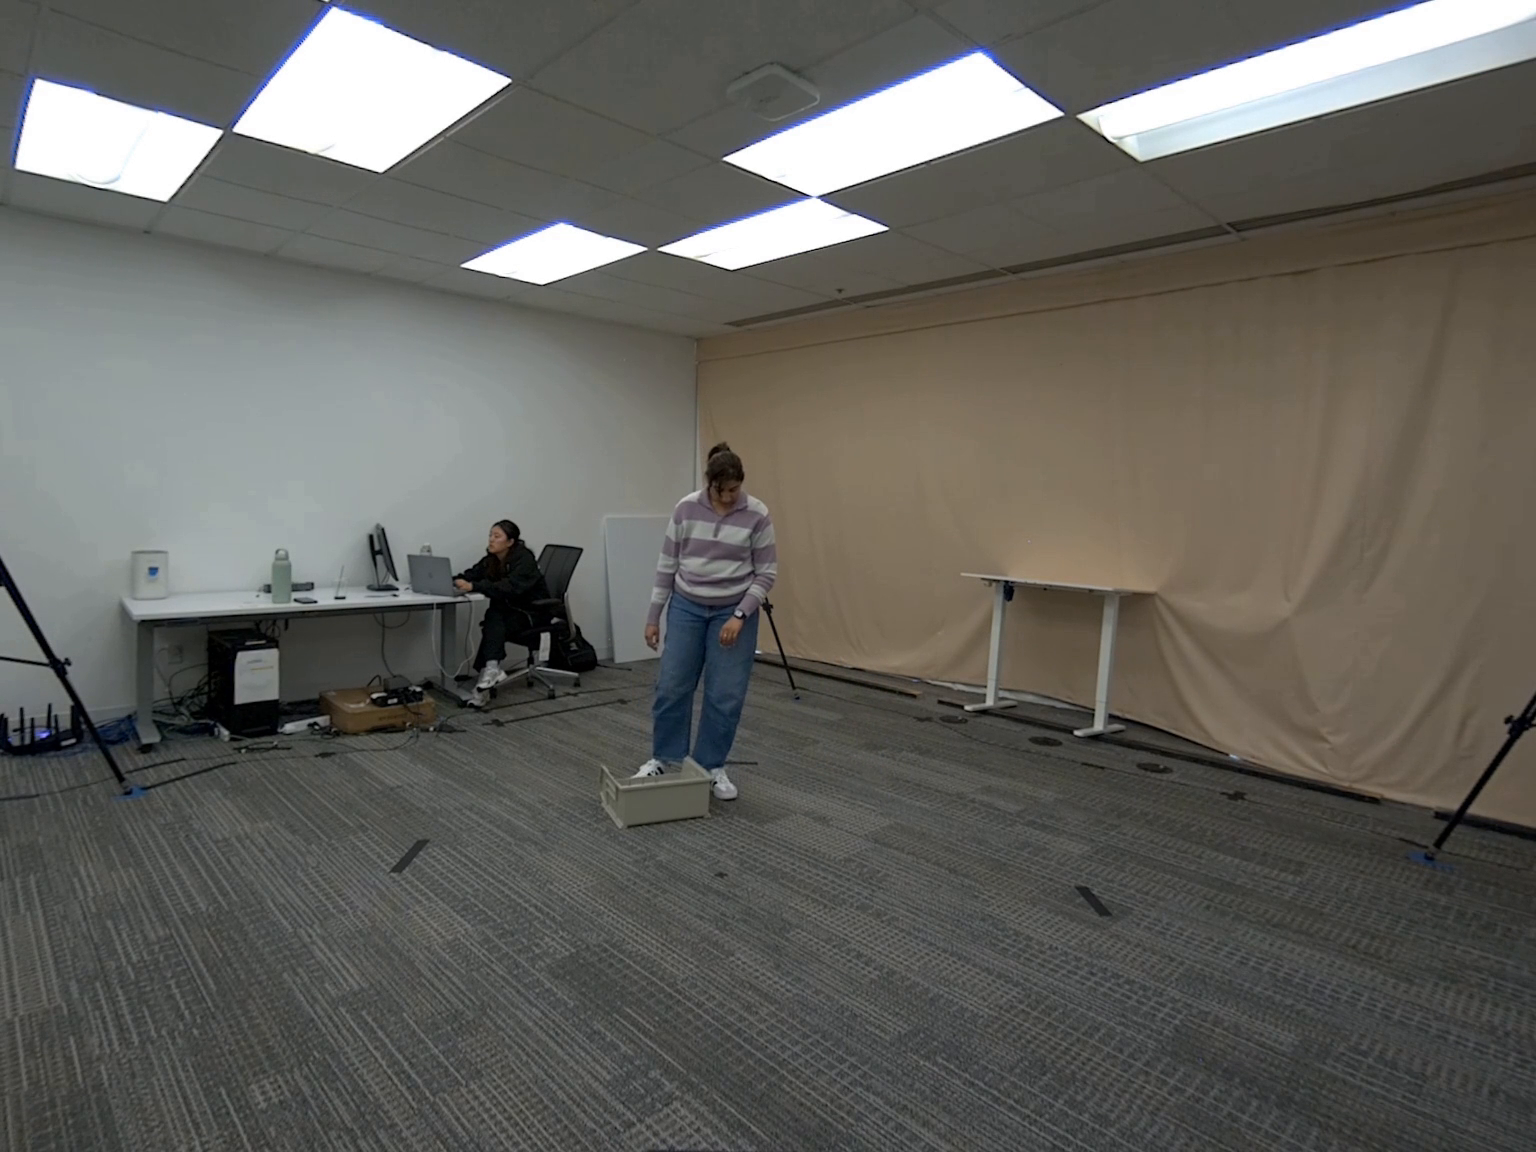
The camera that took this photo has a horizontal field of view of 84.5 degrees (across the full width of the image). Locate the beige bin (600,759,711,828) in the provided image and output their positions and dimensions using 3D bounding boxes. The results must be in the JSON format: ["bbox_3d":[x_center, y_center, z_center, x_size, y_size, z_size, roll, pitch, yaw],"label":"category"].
[{"bbox_3d":[-0.519,0.953,3.748,0.415,0.188,0.385,0,6,-24],"label":"beige bin"}]
